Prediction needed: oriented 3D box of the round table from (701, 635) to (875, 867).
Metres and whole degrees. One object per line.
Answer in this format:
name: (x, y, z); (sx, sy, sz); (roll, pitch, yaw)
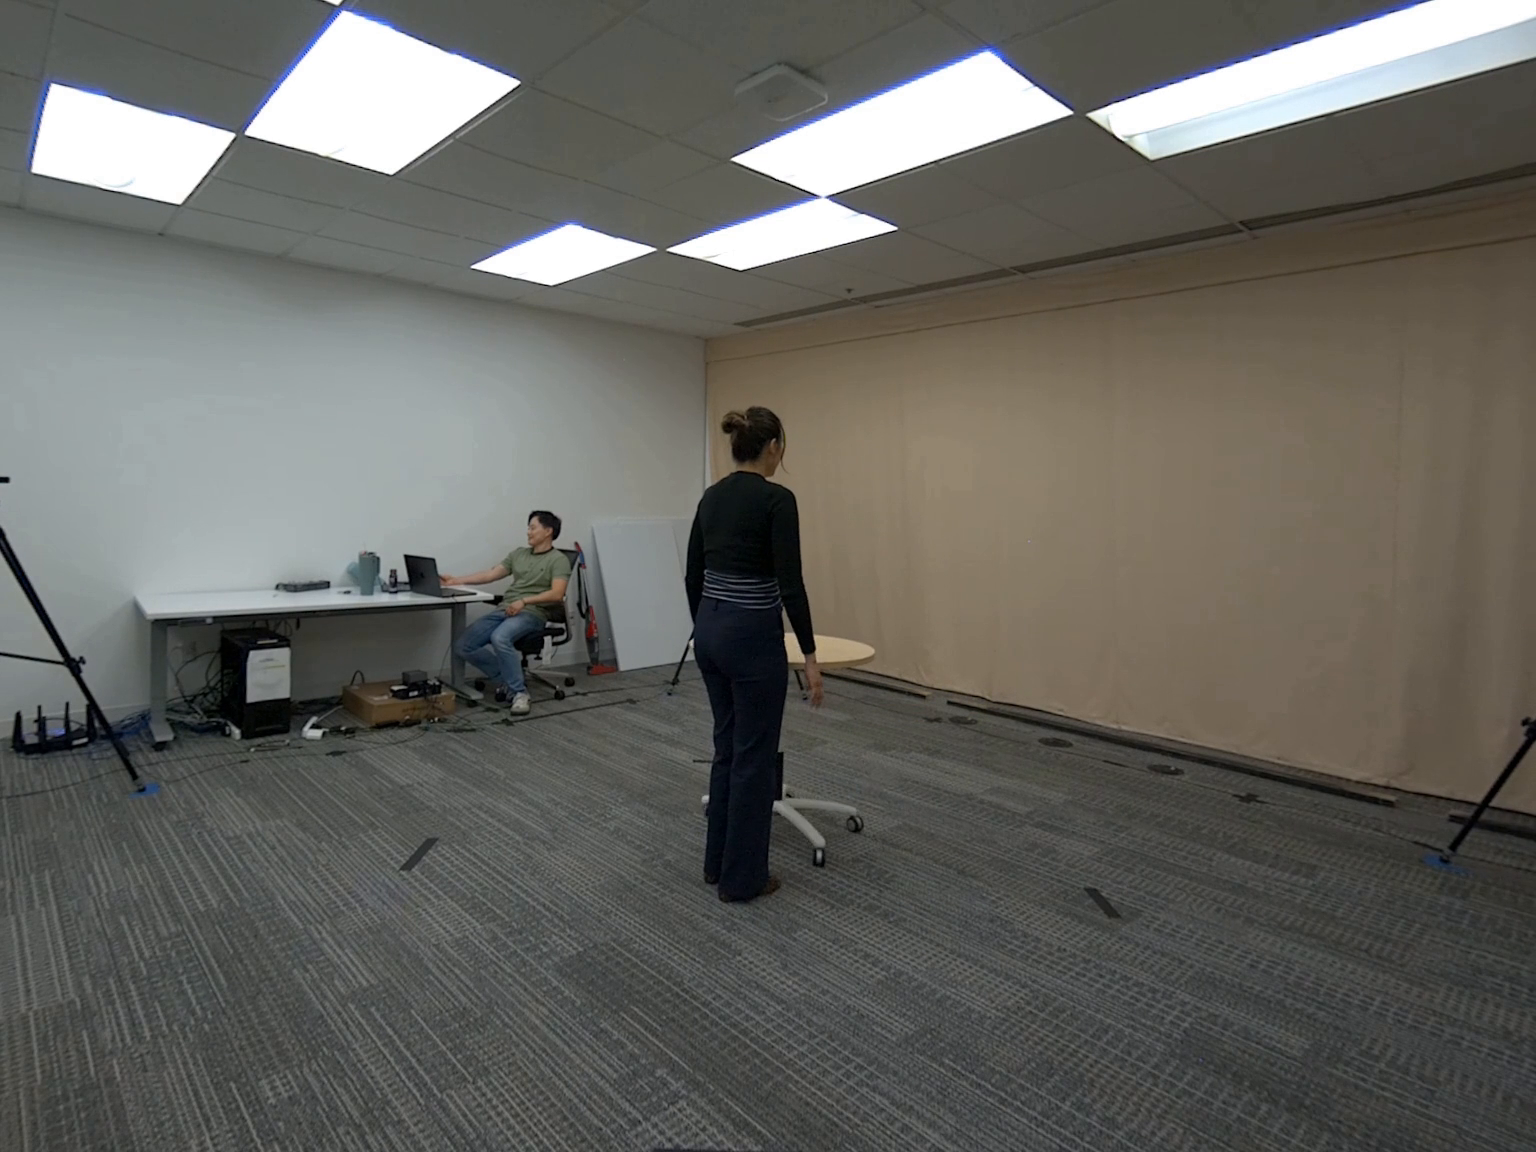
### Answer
round table: (0.036, 0.684, 3.499); (0.763, 0.792, 0.766); (2, 3, -1)
